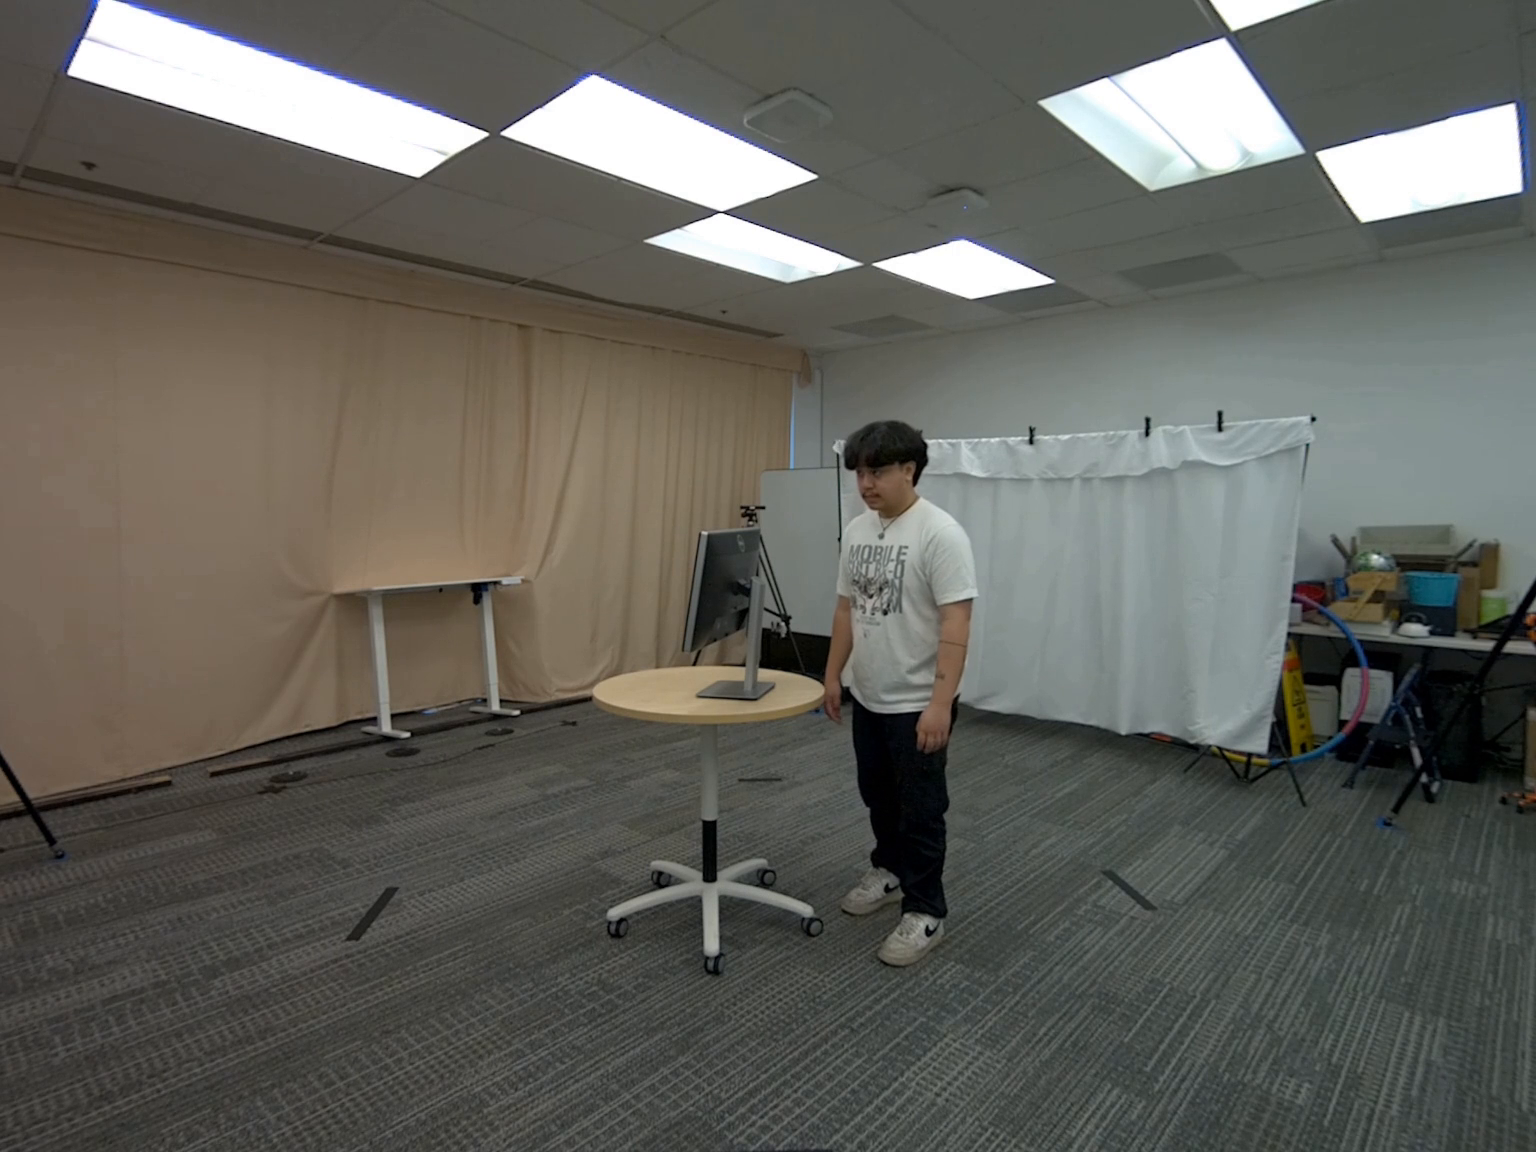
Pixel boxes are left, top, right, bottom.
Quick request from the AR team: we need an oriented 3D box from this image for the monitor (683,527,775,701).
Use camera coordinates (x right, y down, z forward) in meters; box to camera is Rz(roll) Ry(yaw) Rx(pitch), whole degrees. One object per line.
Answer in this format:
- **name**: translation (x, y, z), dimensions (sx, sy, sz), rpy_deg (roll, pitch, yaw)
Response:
- **monitor**: translation (-0.075, 0.123, 2.700), dimensions (0.214, 0.552, 0.556), rpy_deg (5, 5, 17)
